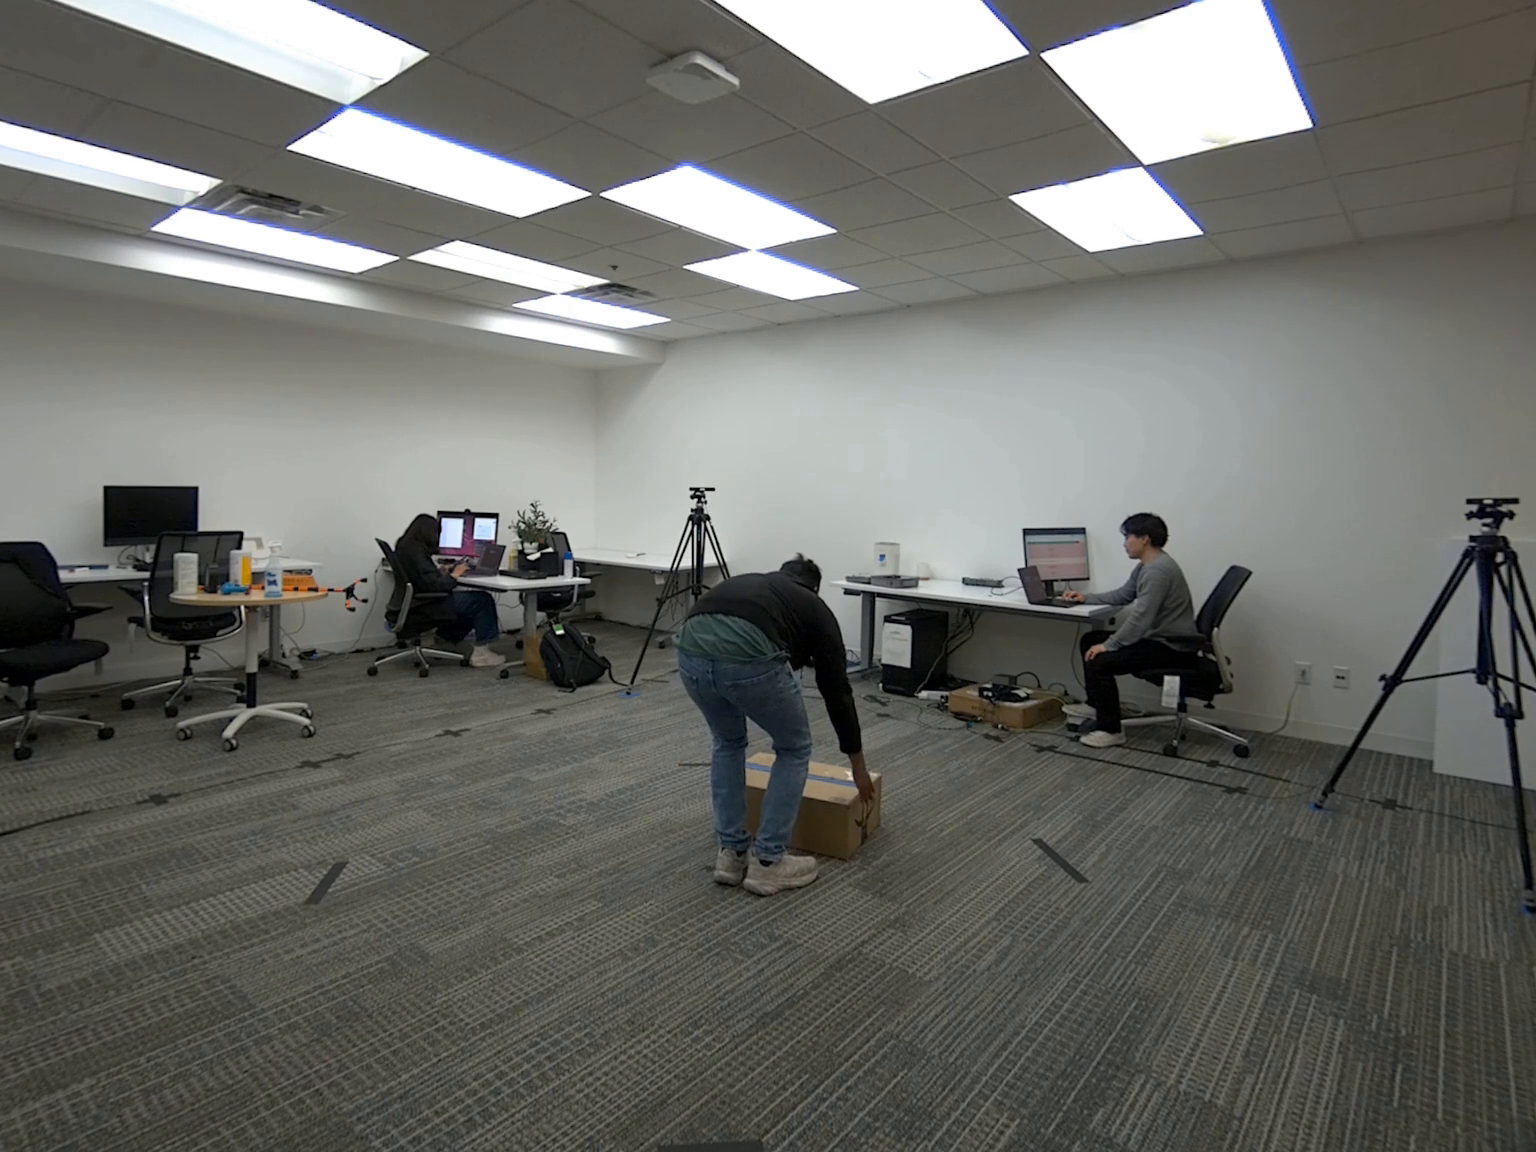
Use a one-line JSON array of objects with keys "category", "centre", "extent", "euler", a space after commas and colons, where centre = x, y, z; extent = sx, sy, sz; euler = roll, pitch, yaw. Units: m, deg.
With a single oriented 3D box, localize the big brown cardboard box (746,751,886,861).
[{"category": "big brown cardboard box", "centre": [0.126, 0.921, 3.493], "extent": [0.604, 0.232, 0.408], "euler": [3, 5, 25]}]
